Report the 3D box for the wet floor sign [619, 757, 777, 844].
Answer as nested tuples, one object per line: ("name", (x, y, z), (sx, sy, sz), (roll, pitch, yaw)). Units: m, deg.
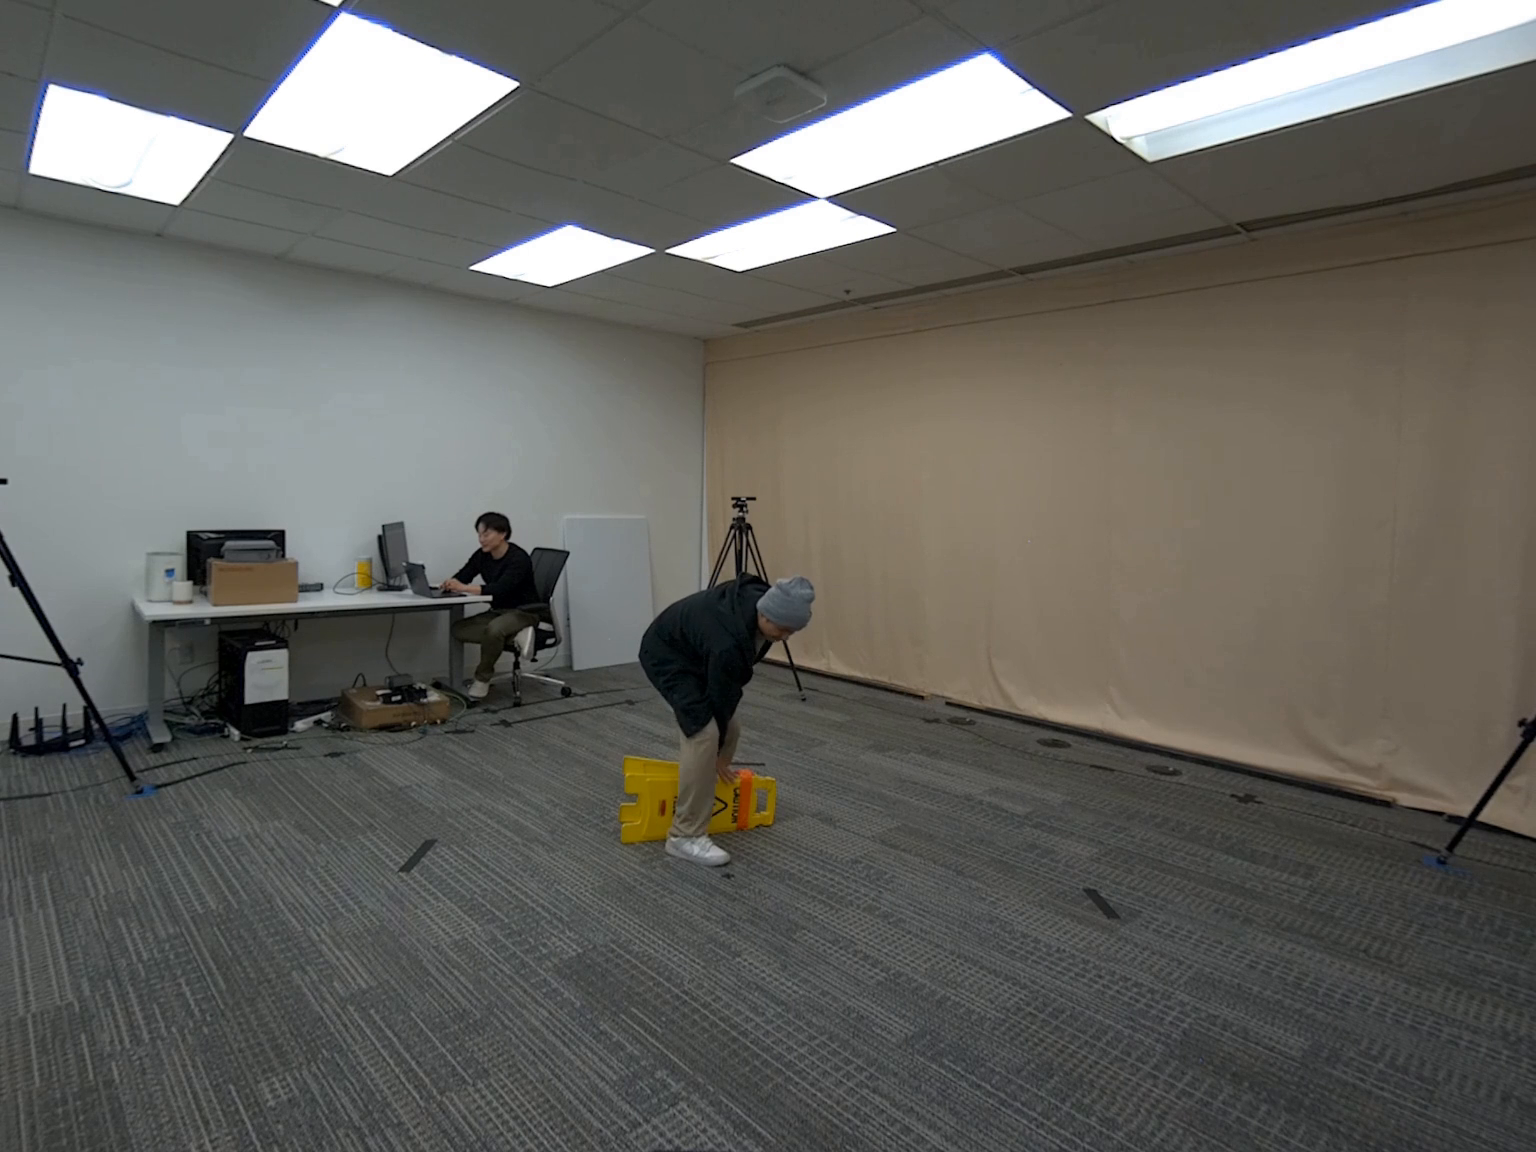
("wet floor sign", (-0.299, 0.938, 3.551), (0.641, 0.282, 0.293), (4, 3, -10))
